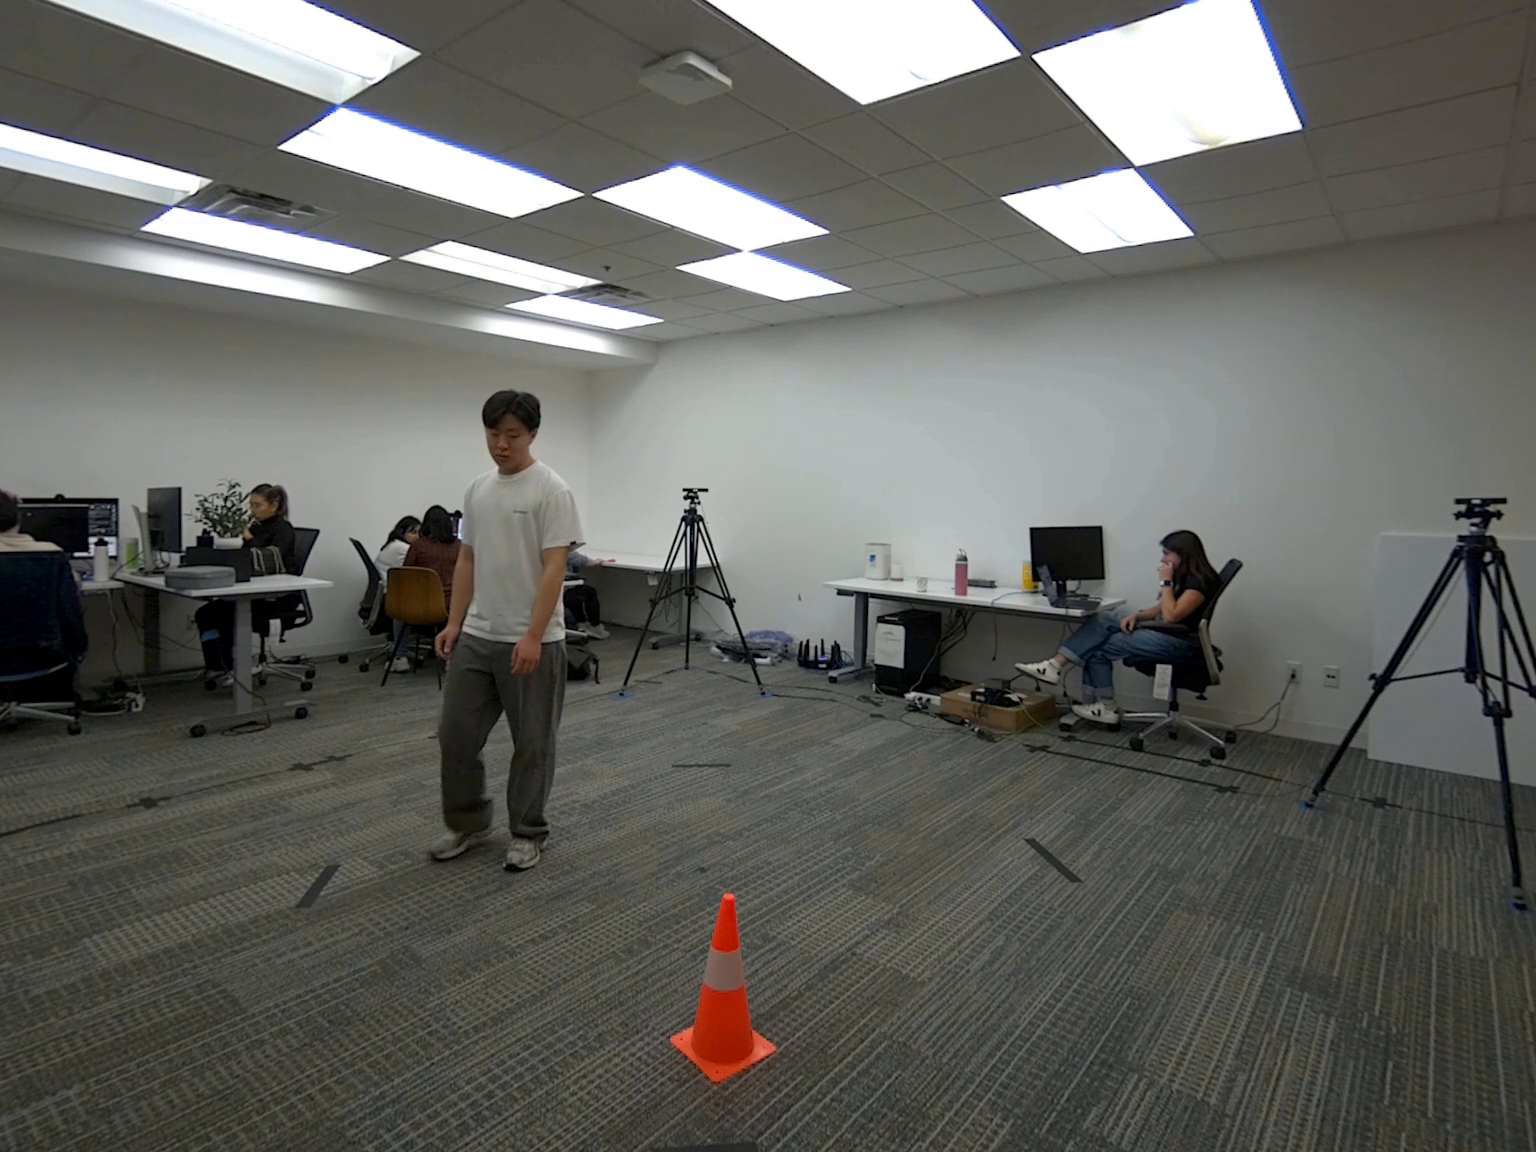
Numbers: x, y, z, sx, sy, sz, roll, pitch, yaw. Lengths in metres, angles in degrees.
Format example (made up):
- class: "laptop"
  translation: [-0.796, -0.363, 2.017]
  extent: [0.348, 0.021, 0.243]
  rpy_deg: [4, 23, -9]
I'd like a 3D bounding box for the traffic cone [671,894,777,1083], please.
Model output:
- class: "traffic cone"
  translation: [-0.102, 0.984, 2.111]
  extent: [0.197, 0.382, 0.212]
  rpy_deg: [-1, 5, -43]
